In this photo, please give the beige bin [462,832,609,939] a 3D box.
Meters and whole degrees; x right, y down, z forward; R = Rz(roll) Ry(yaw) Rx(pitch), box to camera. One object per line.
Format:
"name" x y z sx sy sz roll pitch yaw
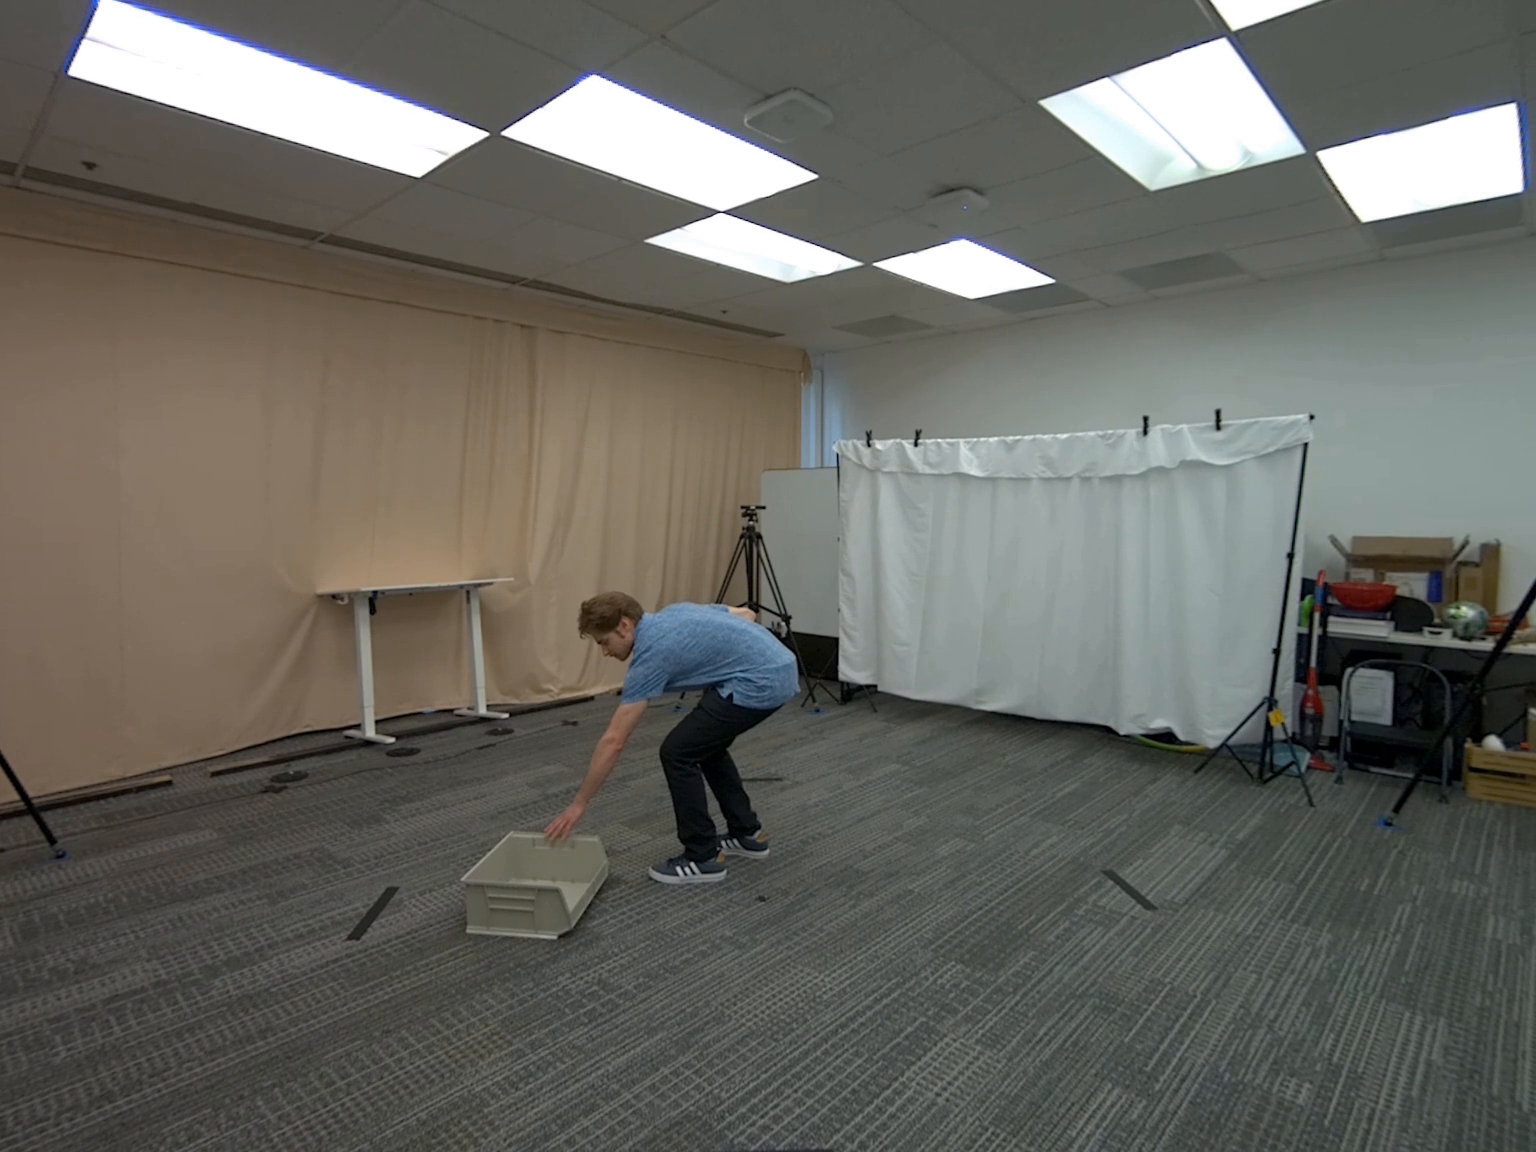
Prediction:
"beige bin" -0.799 1.067 2.929 0.381 0.188 0.420 0 5 7
